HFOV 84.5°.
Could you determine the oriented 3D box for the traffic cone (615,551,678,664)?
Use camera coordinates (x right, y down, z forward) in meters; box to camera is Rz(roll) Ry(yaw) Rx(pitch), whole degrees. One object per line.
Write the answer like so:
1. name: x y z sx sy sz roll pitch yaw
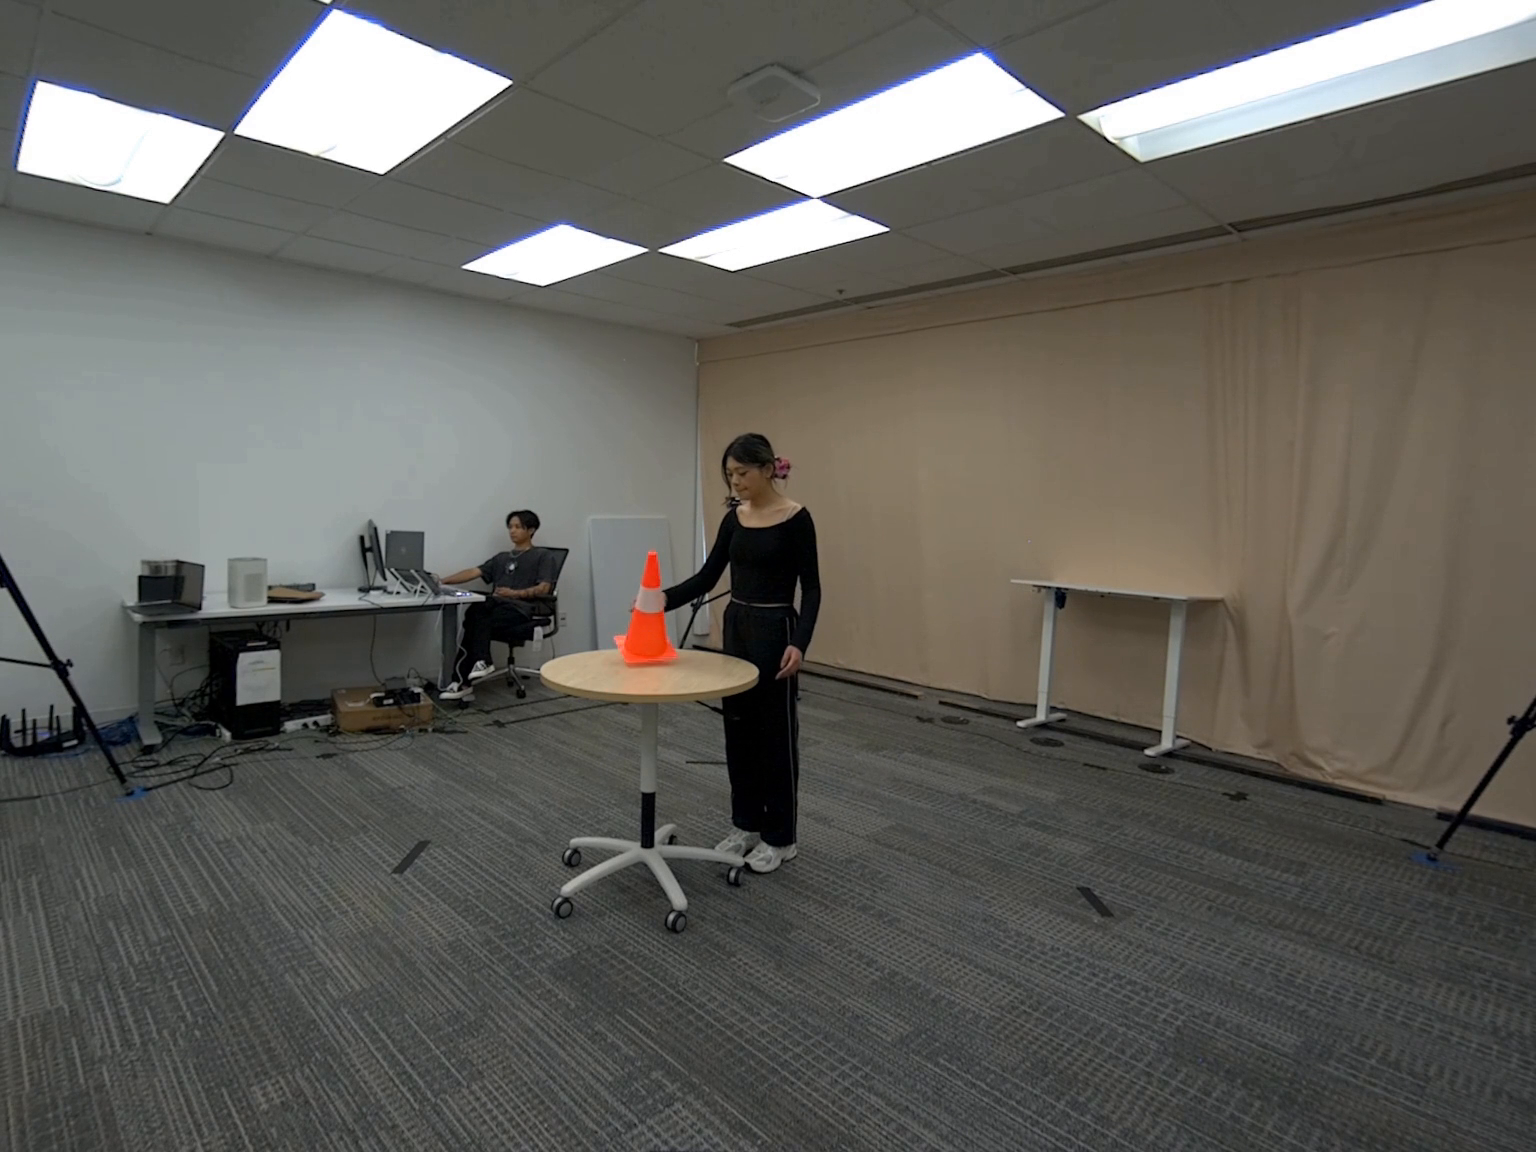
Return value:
1. traffic cone: -0.427 0.098 3.000 0.200 0.378 0.211 -8 27 -30
